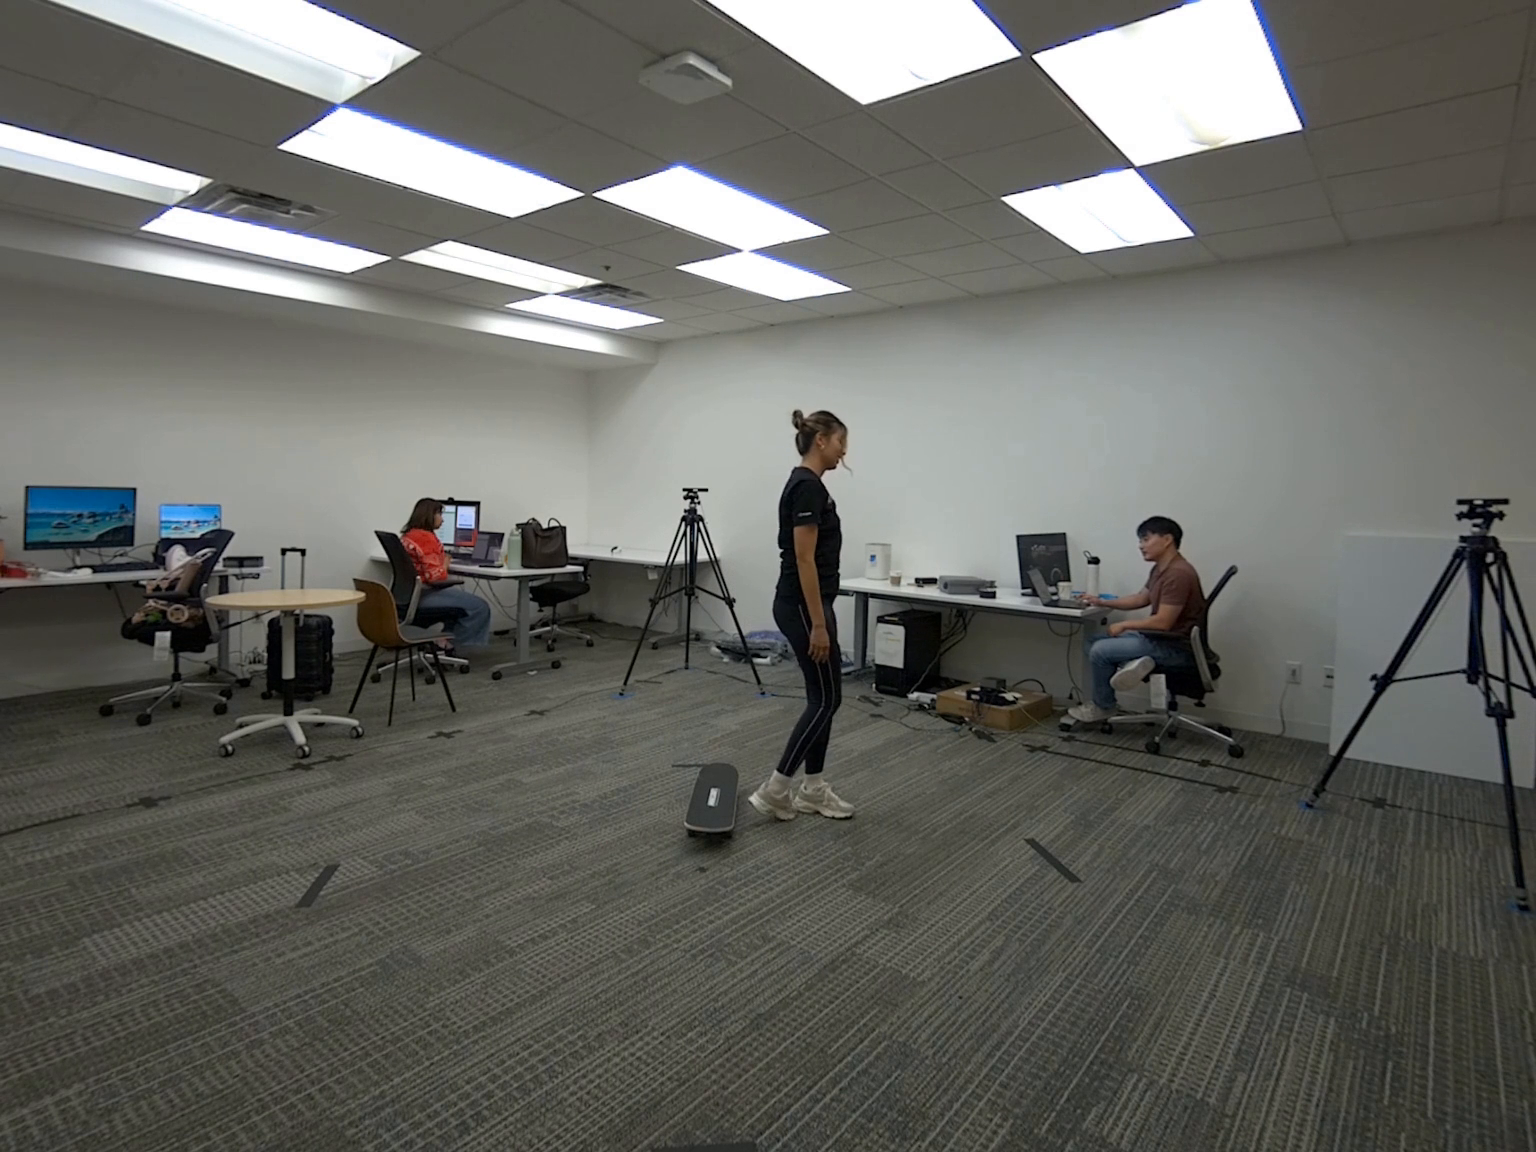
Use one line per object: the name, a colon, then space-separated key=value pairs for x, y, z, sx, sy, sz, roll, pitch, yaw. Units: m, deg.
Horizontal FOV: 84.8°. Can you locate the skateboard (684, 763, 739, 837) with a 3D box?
skateboard: x=-0.236 y=0.960 z=3.605 sx=0.194 sy=0.110 sz=0.787 roll=1 pitch=6 yaw=0
